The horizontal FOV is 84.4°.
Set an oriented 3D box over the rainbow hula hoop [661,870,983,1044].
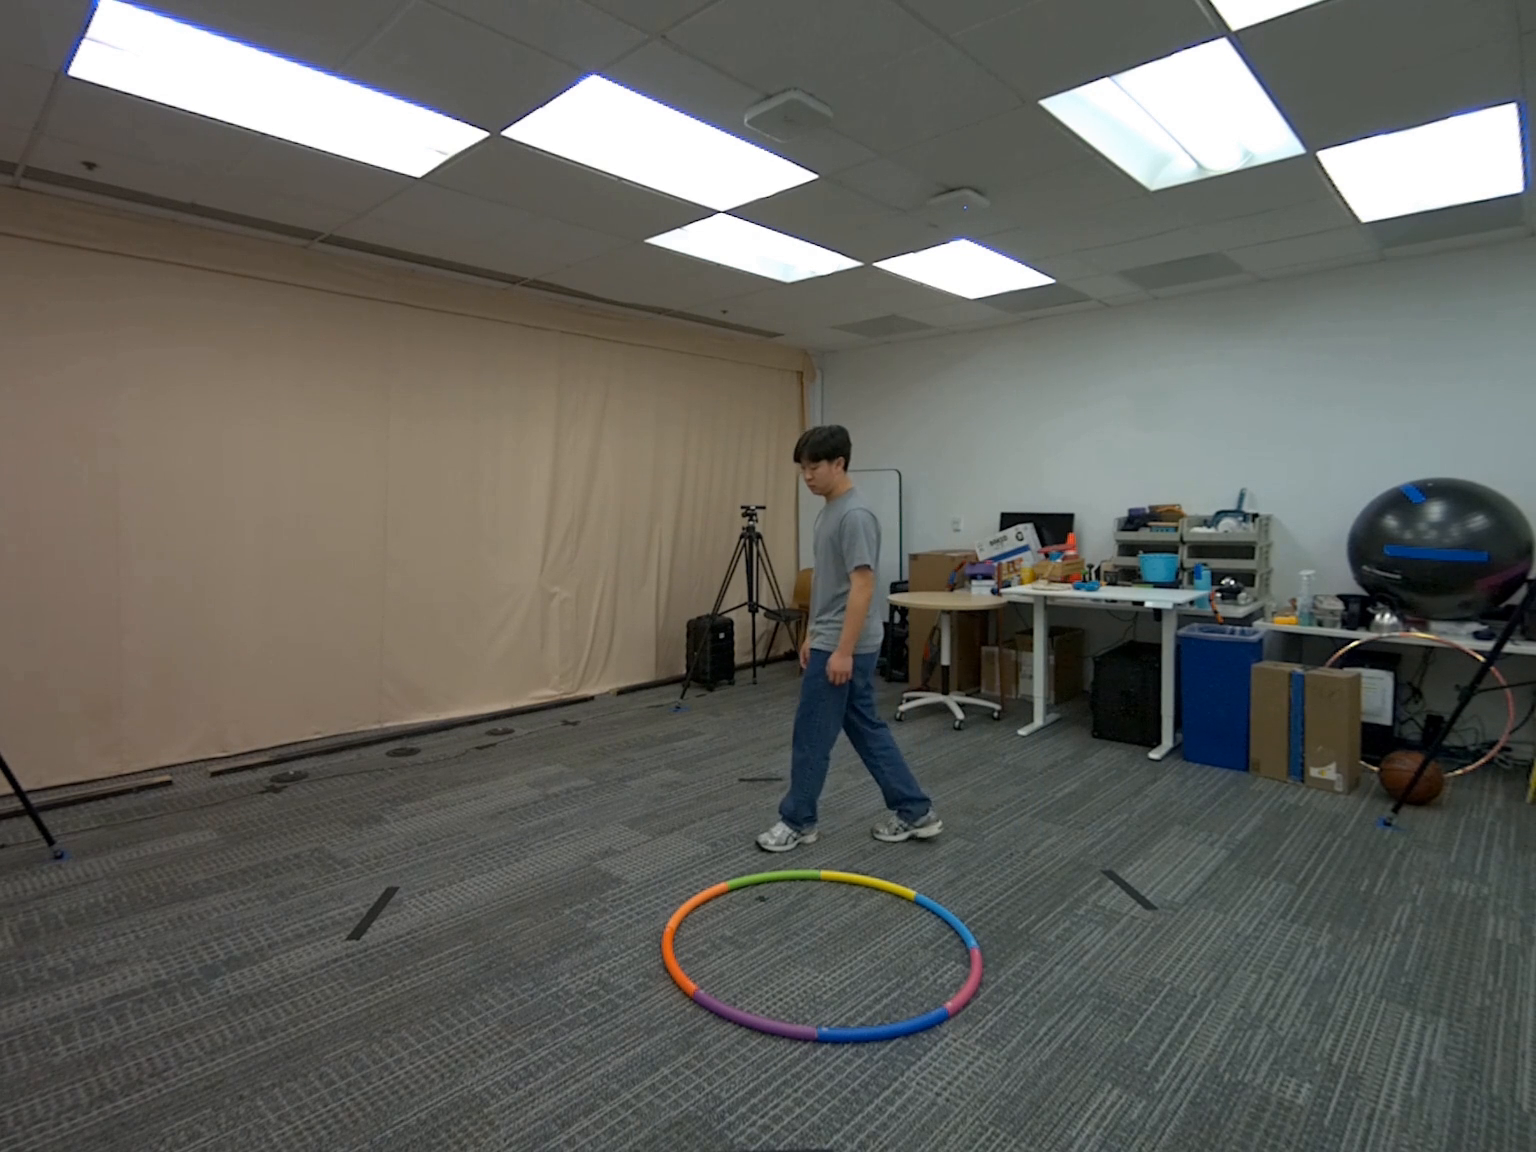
[{"bbox_3d":[0.159,1.140,2.668,0.978,0.035,0.982,0,5,-2],"label":"rainbow hula hoop"}]
